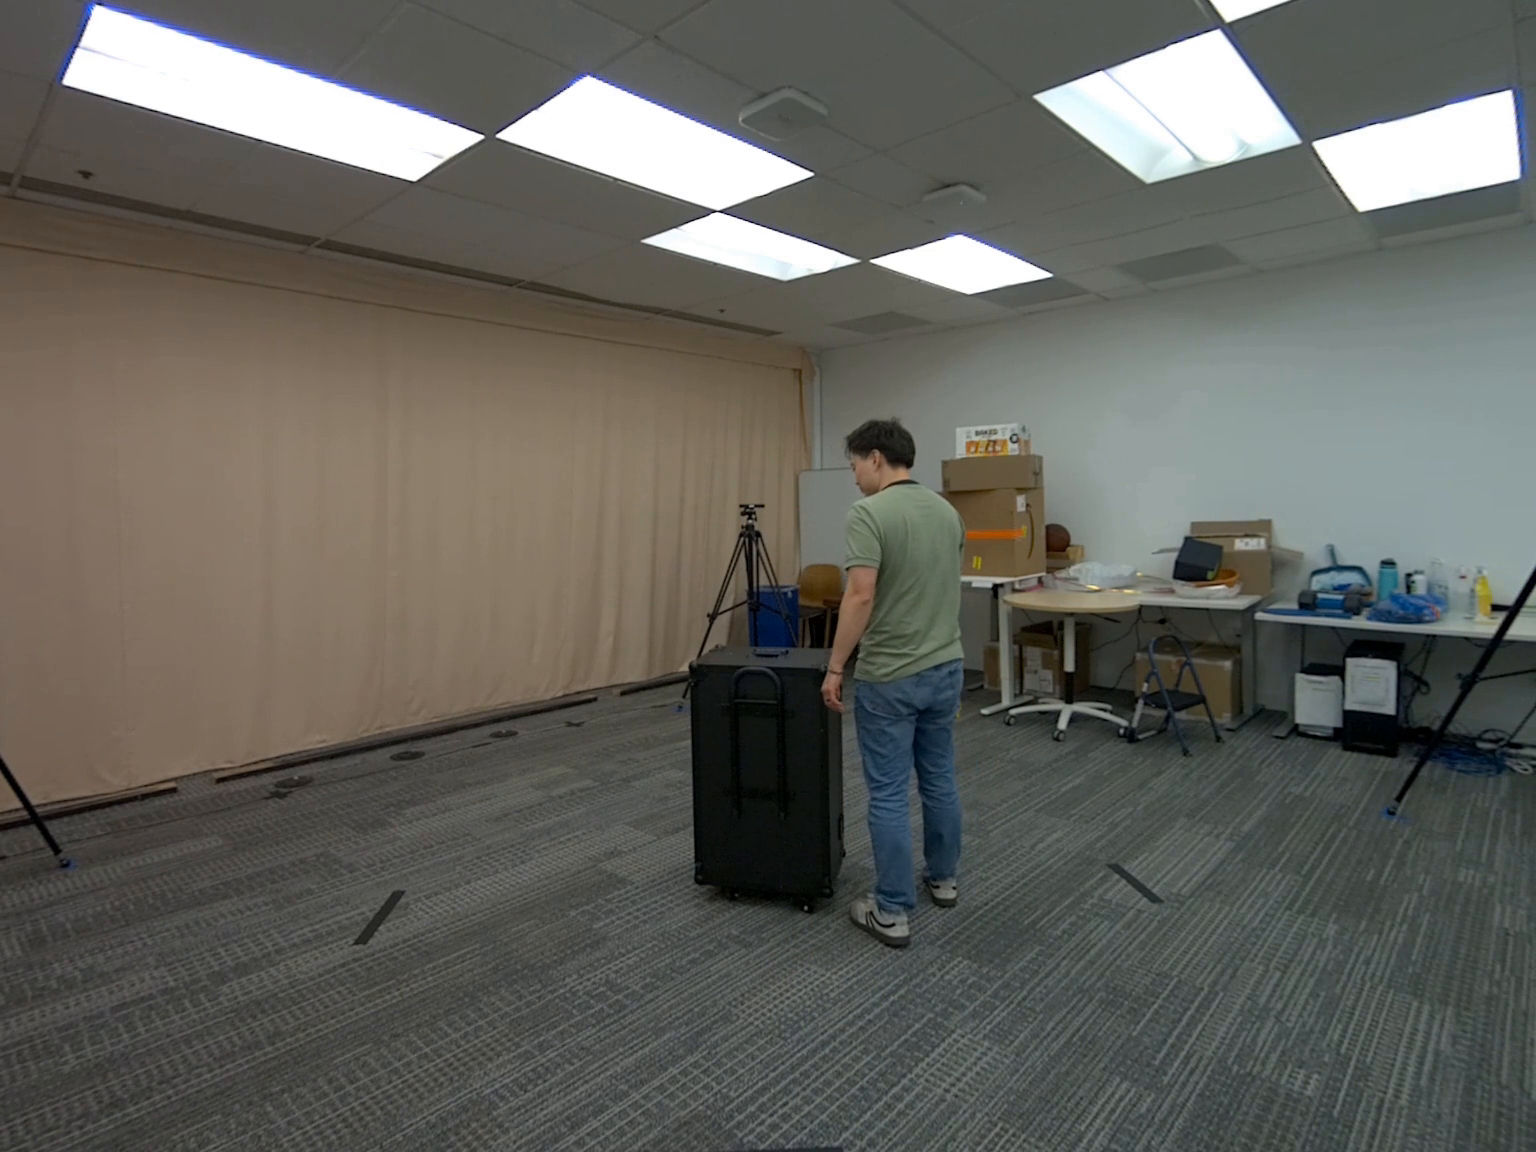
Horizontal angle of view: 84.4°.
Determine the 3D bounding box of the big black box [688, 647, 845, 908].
[{"bbox_3d":[0.014,0.713,3.023,0.530,0.859,0.391,1,4,15],"label":"big black box"}]
